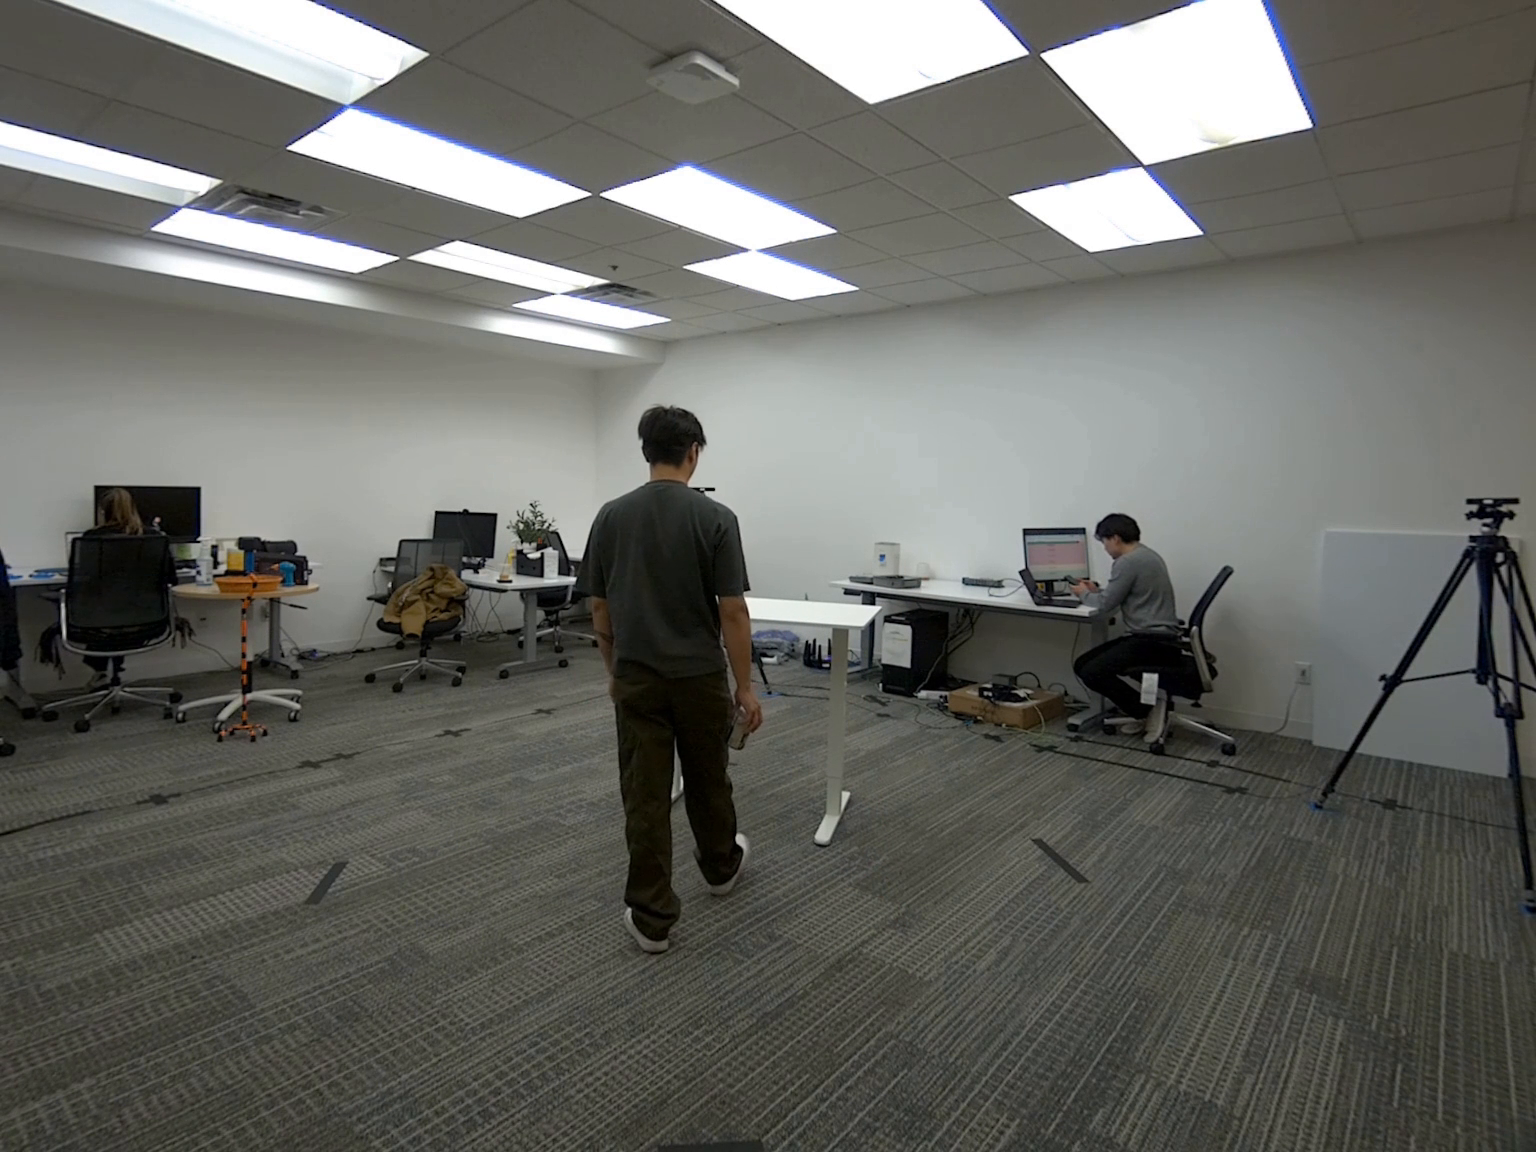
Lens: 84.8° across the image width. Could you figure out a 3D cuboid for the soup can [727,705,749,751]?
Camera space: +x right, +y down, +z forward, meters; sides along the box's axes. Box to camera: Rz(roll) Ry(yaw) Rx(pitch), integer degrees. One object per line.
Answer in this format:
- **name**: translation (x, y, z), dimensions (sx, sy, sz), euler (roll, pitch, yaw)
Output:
- **soup can**: translation (-0.101, 0.490, 2.702), dimensions (0.066, 0.120, 0.068), euler (15, 18, -7)
